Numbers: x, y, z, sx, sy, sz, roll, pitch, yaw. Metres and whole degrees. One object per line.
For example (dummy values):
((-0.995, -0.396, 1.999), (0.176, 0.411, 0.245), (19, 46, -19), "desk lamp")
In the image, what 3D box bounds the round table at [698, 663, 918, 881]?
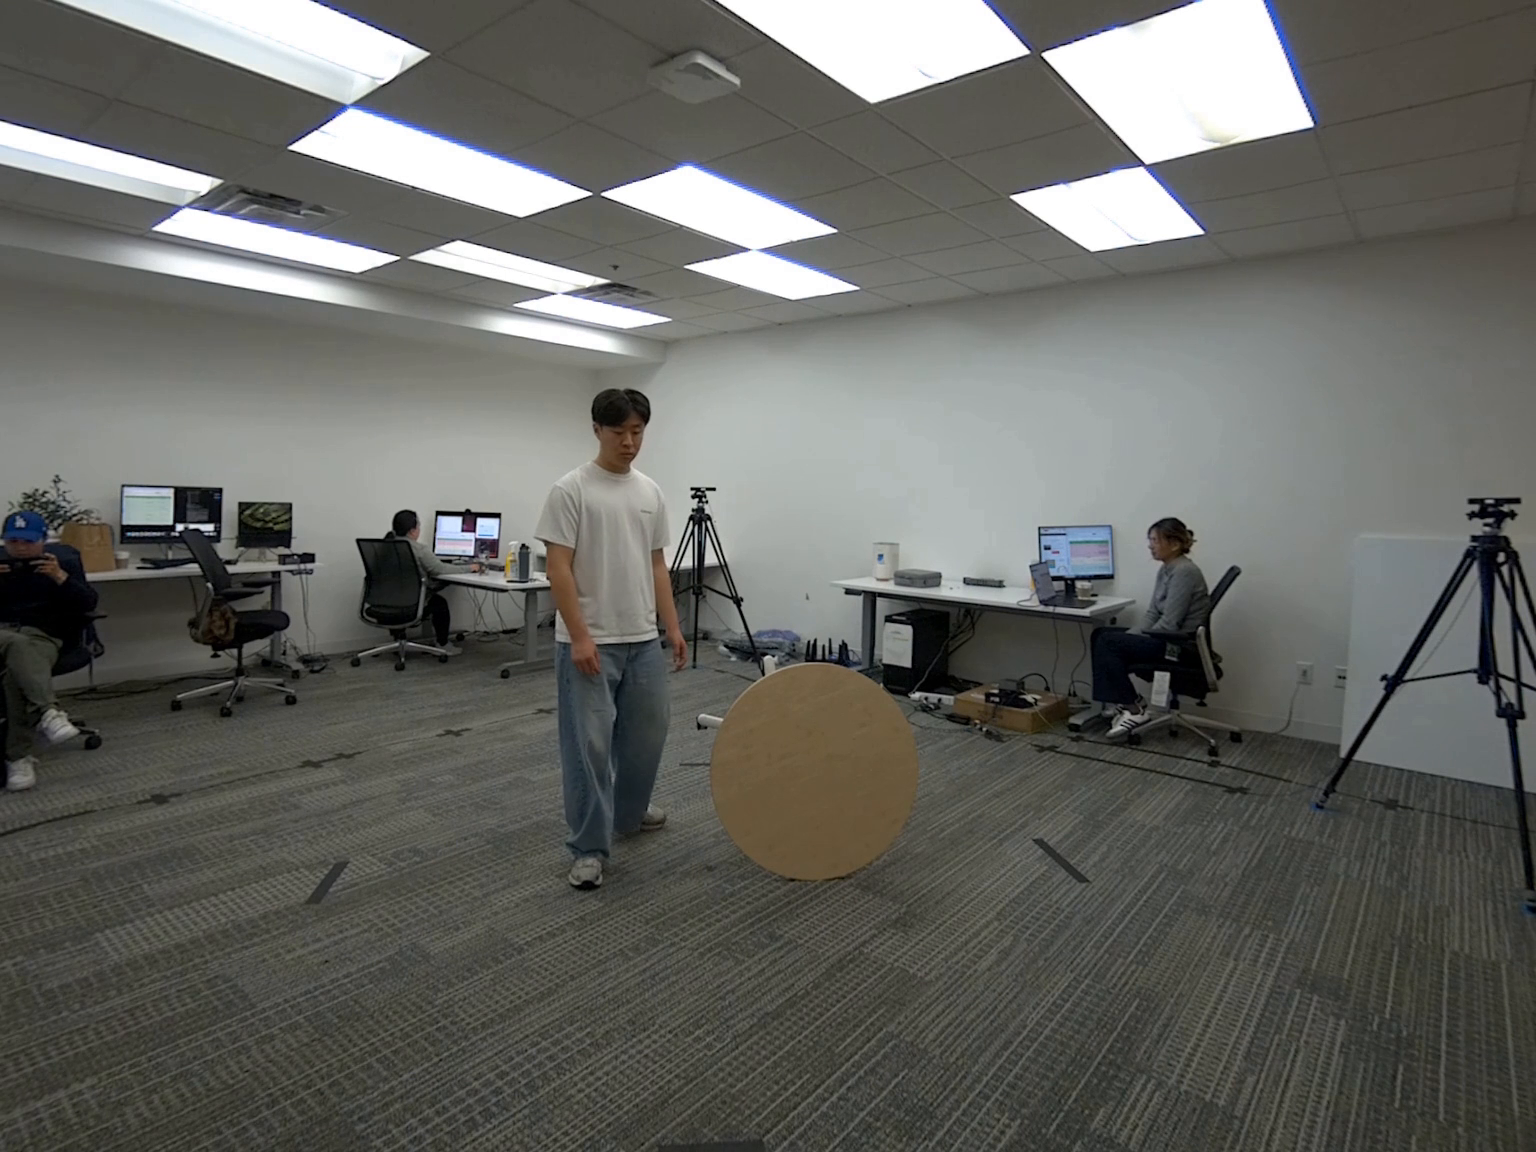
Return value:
((0.080, 0.697, 3.441), (0.776, 0.787, 0.794), (0, -1, -11), "round table")
